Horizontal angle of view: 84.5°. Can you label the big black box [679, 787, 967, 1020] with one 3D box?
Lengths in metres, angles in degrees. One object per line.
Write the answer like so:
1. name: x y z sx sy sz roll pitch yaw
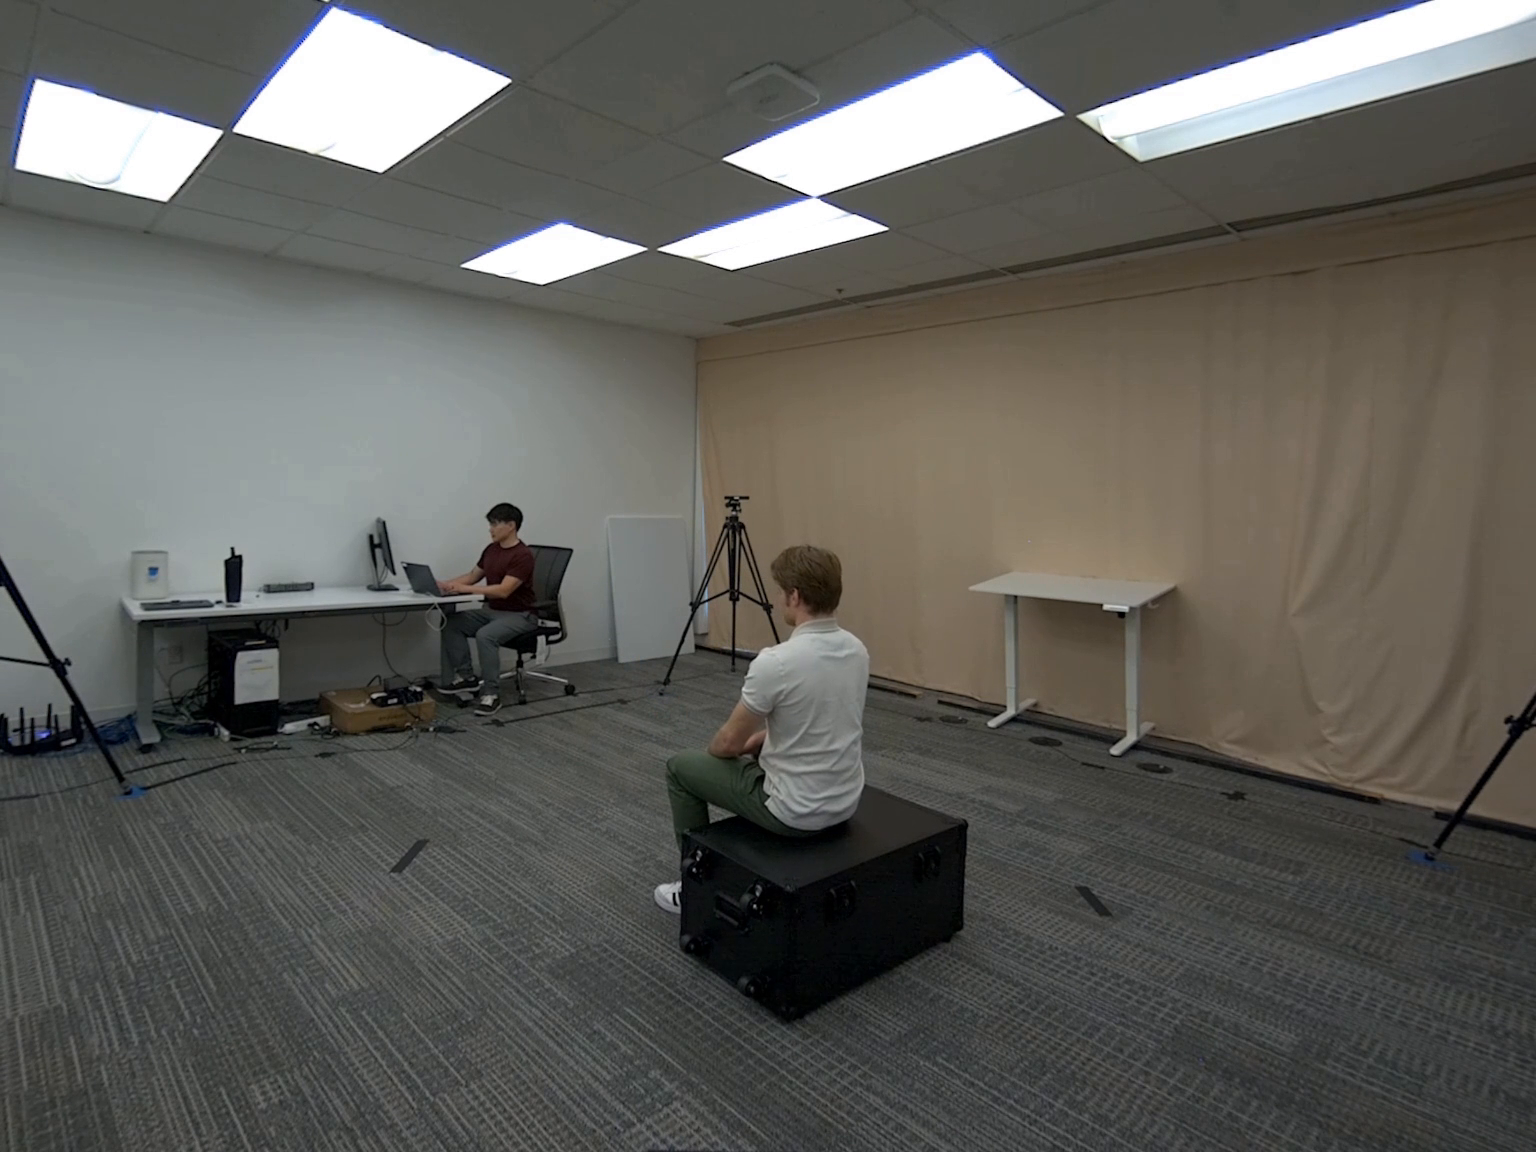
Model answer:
1. big black box: 0.150 0.964 2.608 0.849 0.384 0.537 -3 7 -41
